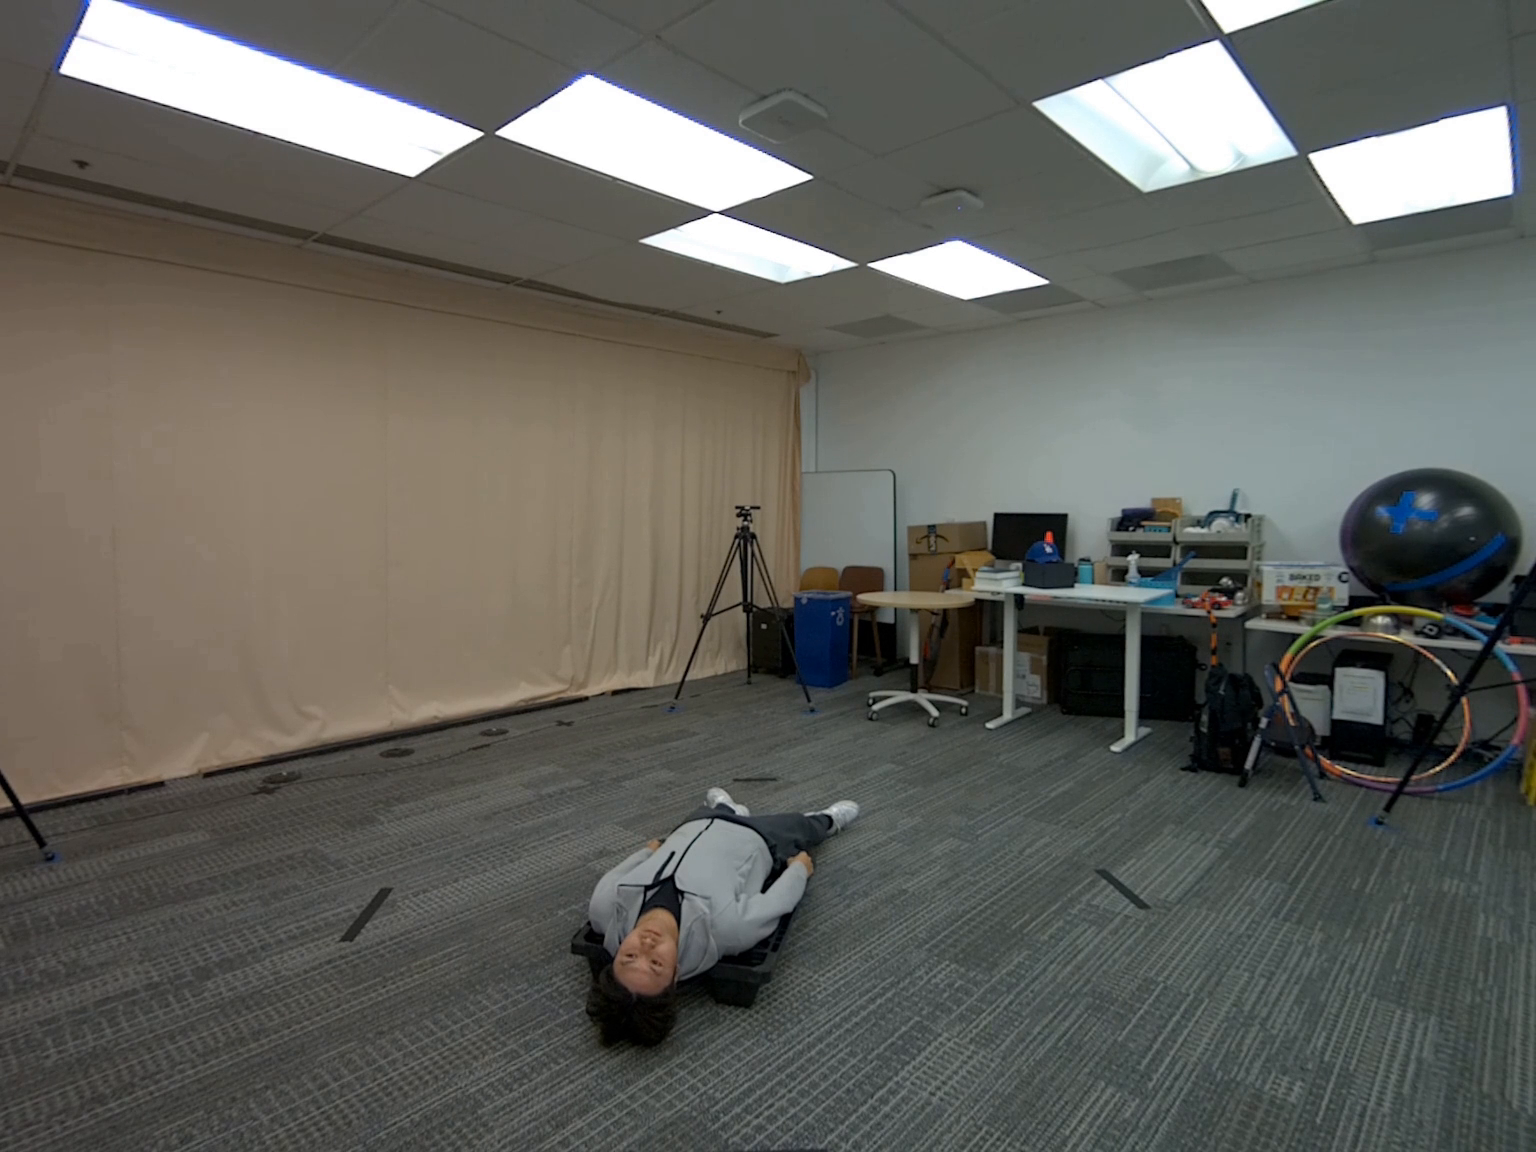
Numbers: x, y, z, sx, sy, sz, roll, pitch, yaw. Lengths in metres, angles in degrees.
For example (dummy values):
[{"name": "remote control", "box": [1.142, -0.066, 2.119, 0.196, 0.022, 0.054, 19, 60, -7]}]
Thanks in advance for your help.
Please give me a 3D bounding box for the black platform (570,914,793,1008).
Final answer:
[{"name": "black platform", "box": [-0.200, 1.082, 2.735, 0.616, 0.143, 0.794, 5, 7, 15]}]
